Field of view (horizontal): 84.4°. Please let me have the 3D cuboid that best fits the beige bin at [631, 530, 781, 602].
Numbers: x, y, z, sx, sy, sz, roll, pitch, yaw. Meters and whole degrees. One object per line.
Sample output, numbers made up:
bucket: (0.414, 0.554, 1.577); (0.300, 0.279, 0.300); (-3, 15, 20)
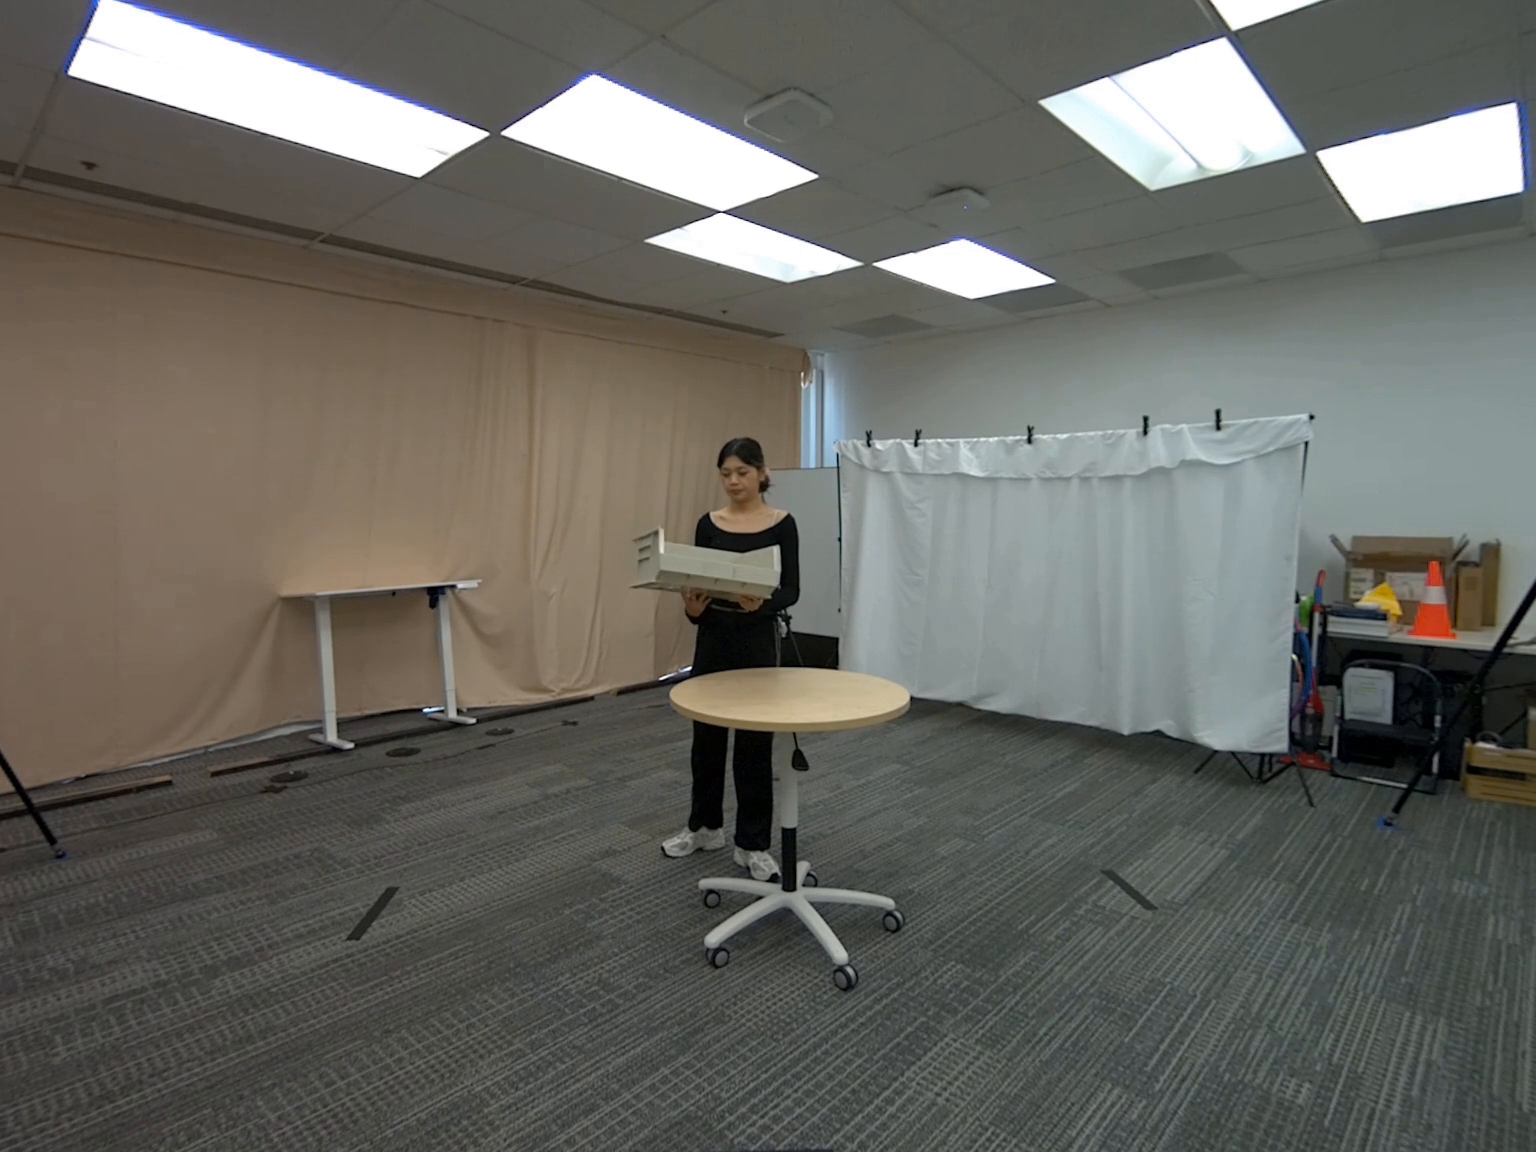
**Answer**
beige bin: (-0.221, -0.022, 2.860); (0.413, 0.190, 0.384); (9, -8, -21)
